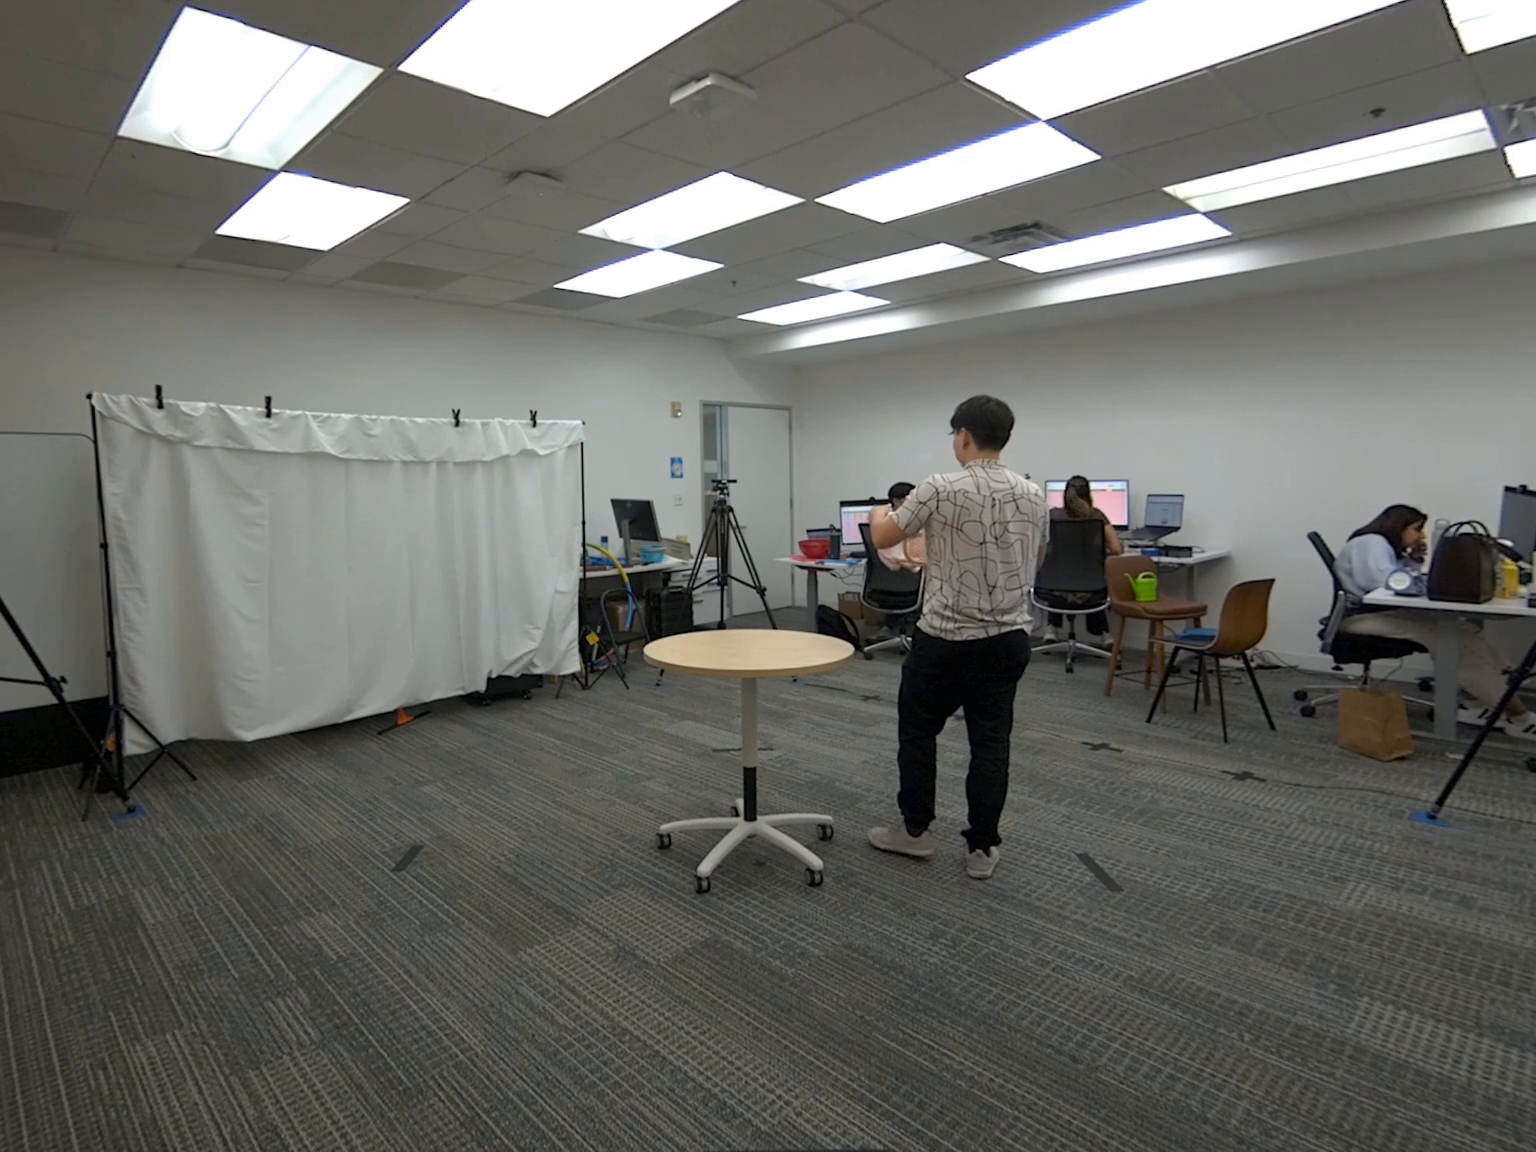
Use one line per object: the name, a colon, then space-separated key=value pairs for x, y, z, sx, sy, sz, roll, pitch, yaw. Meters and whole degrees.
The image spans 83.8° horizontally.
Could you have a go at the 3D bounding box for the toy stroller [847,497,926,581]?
toy stroller: x=0.595 y=-0.140 z=3.494 sx=0.336 sy=0.282 sz=0.542 roll=6 pitch=-2 yaw=-15
